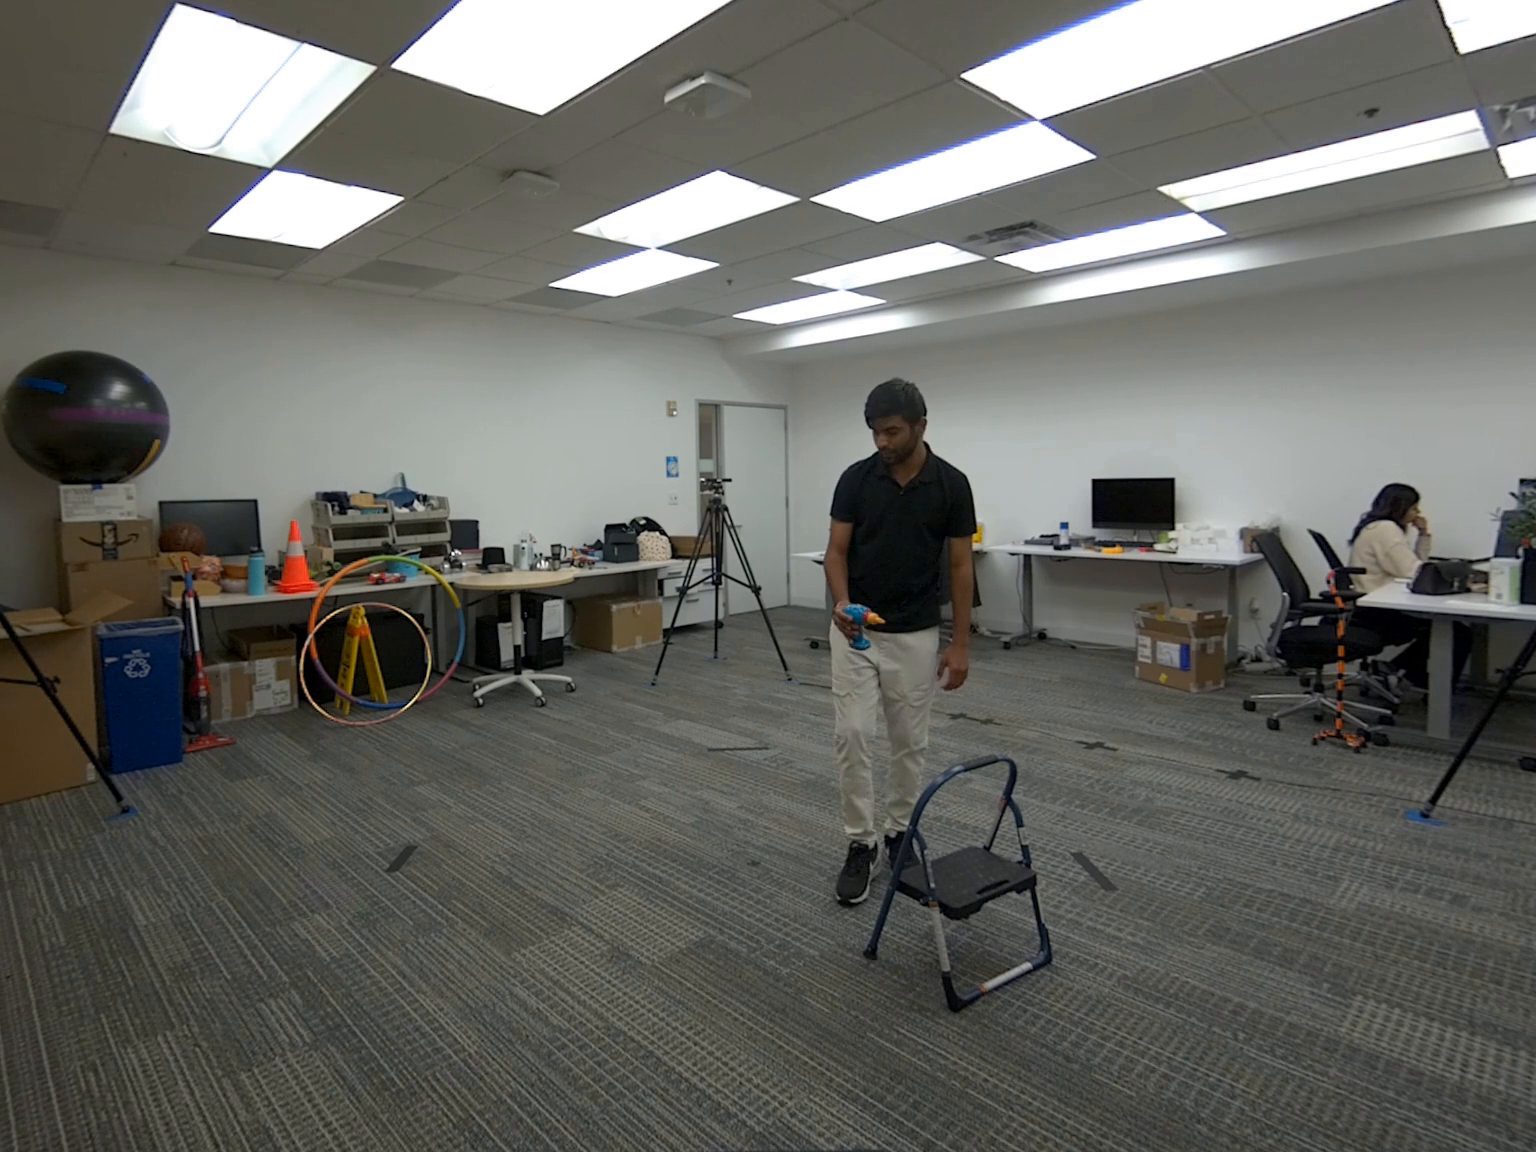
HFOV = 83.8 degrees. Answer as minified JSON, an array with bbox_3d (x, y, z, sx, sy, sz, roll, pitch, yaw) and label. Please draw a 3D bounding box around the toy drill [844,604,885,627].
[{"bbox_3d":[0.289,0.164,2.657,0.060,0.143,0.175,-20,19,-32],"label":"toy drill"}]
